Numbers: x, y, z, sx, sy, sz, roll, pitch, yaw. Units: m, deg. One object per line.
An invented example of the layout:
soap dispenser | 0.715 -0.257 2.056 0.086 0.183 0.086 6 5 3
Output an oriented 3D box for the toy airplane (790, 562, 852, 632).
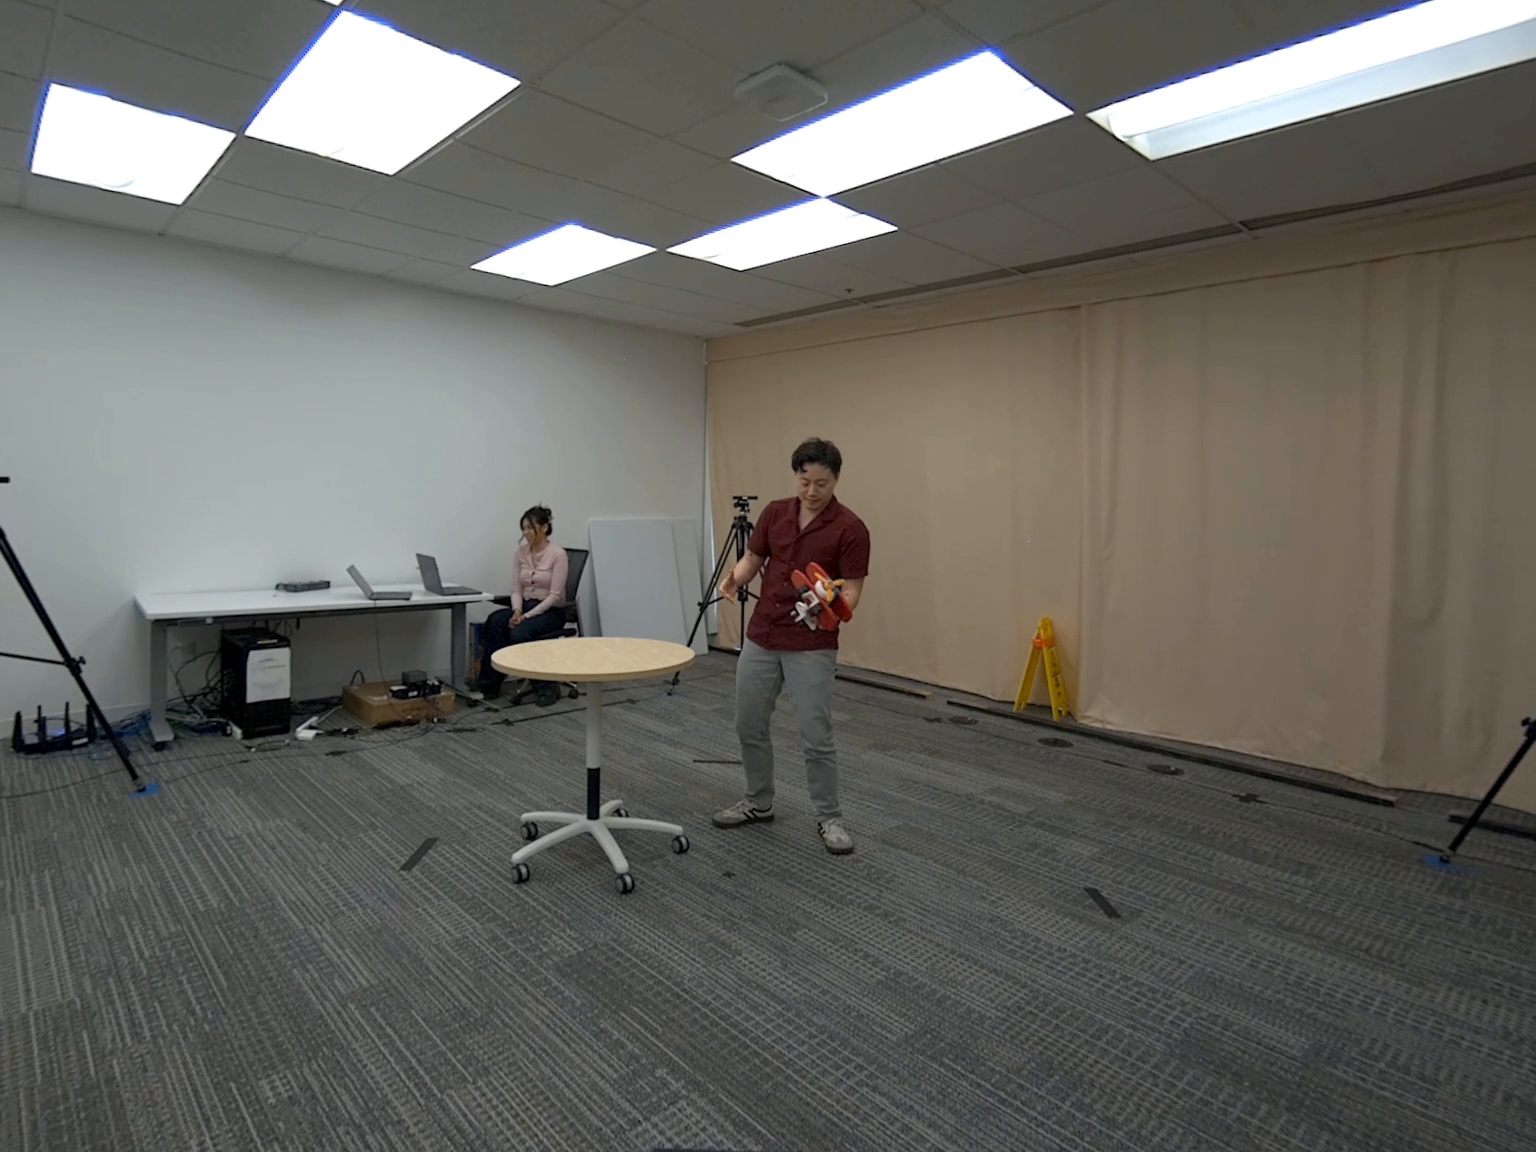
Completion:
toy airplane | 0.155 0.074 3.103 0.155 0.249 0.263 -29 9 -19
